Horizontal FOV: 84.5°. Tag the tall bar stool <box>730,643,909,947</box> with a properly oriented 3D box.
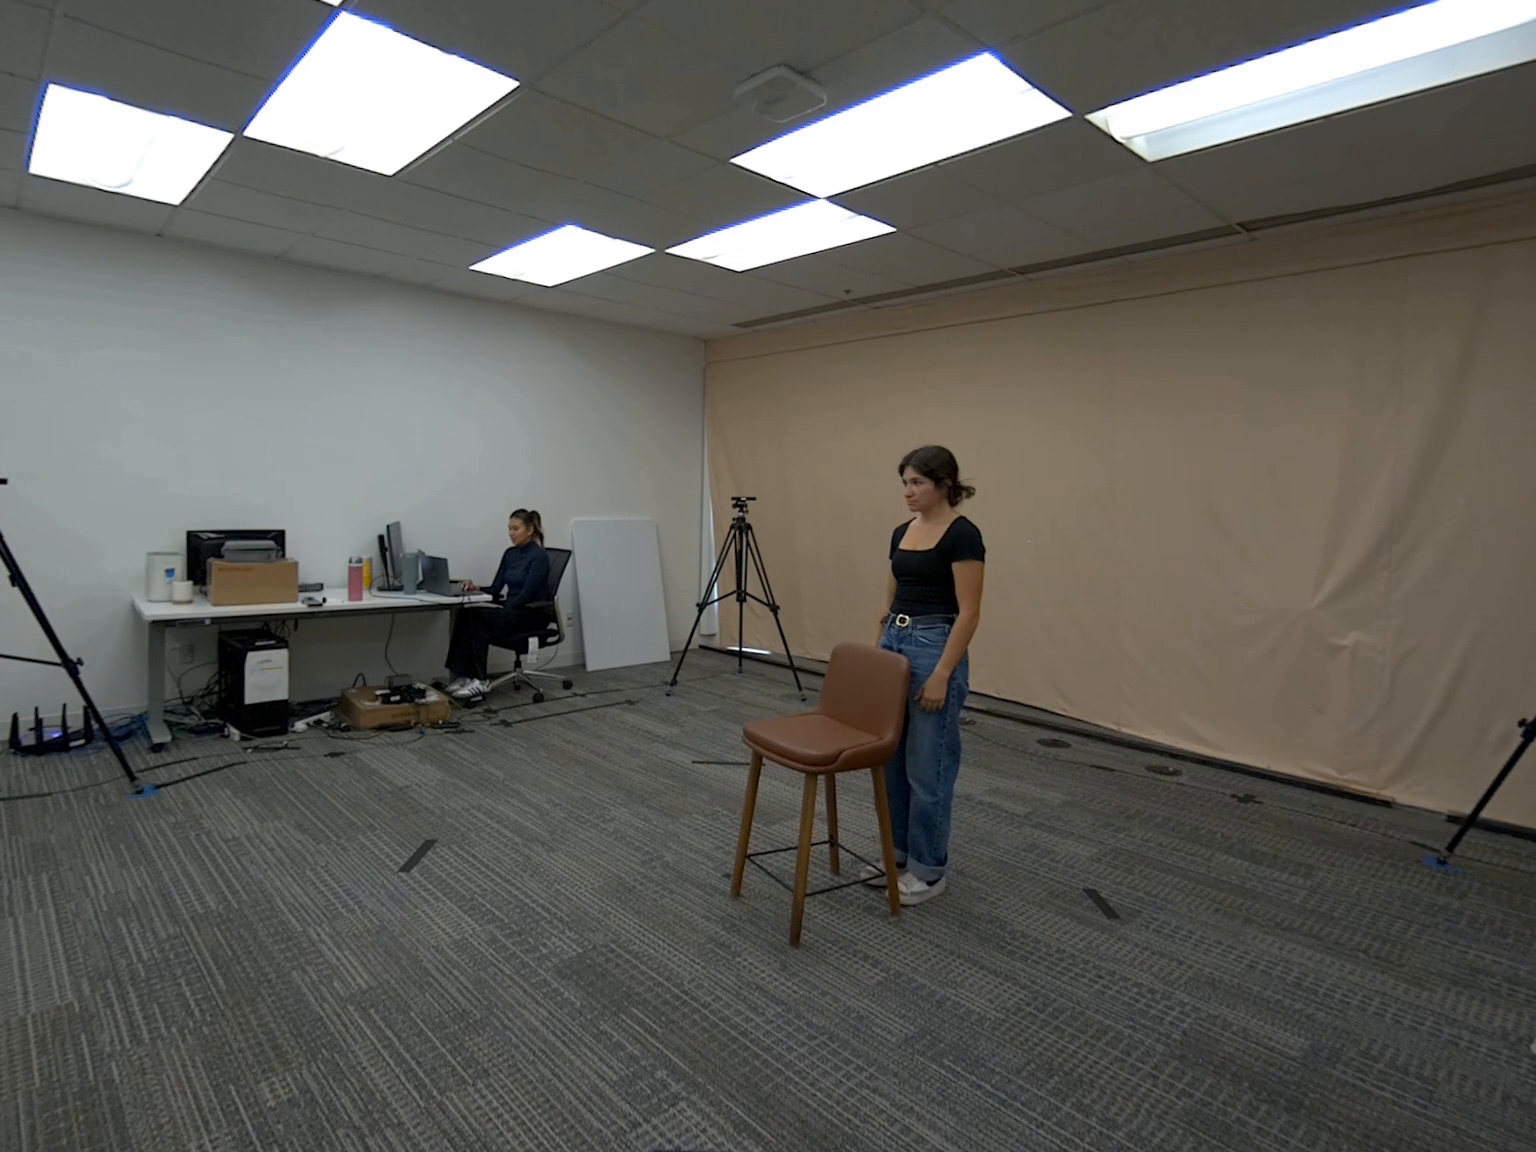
[{"bbox_3d":[0.173,0.701,2.867,0.458,0.888,0.467,2,3,-31],"label":"tall bar stool"}]
